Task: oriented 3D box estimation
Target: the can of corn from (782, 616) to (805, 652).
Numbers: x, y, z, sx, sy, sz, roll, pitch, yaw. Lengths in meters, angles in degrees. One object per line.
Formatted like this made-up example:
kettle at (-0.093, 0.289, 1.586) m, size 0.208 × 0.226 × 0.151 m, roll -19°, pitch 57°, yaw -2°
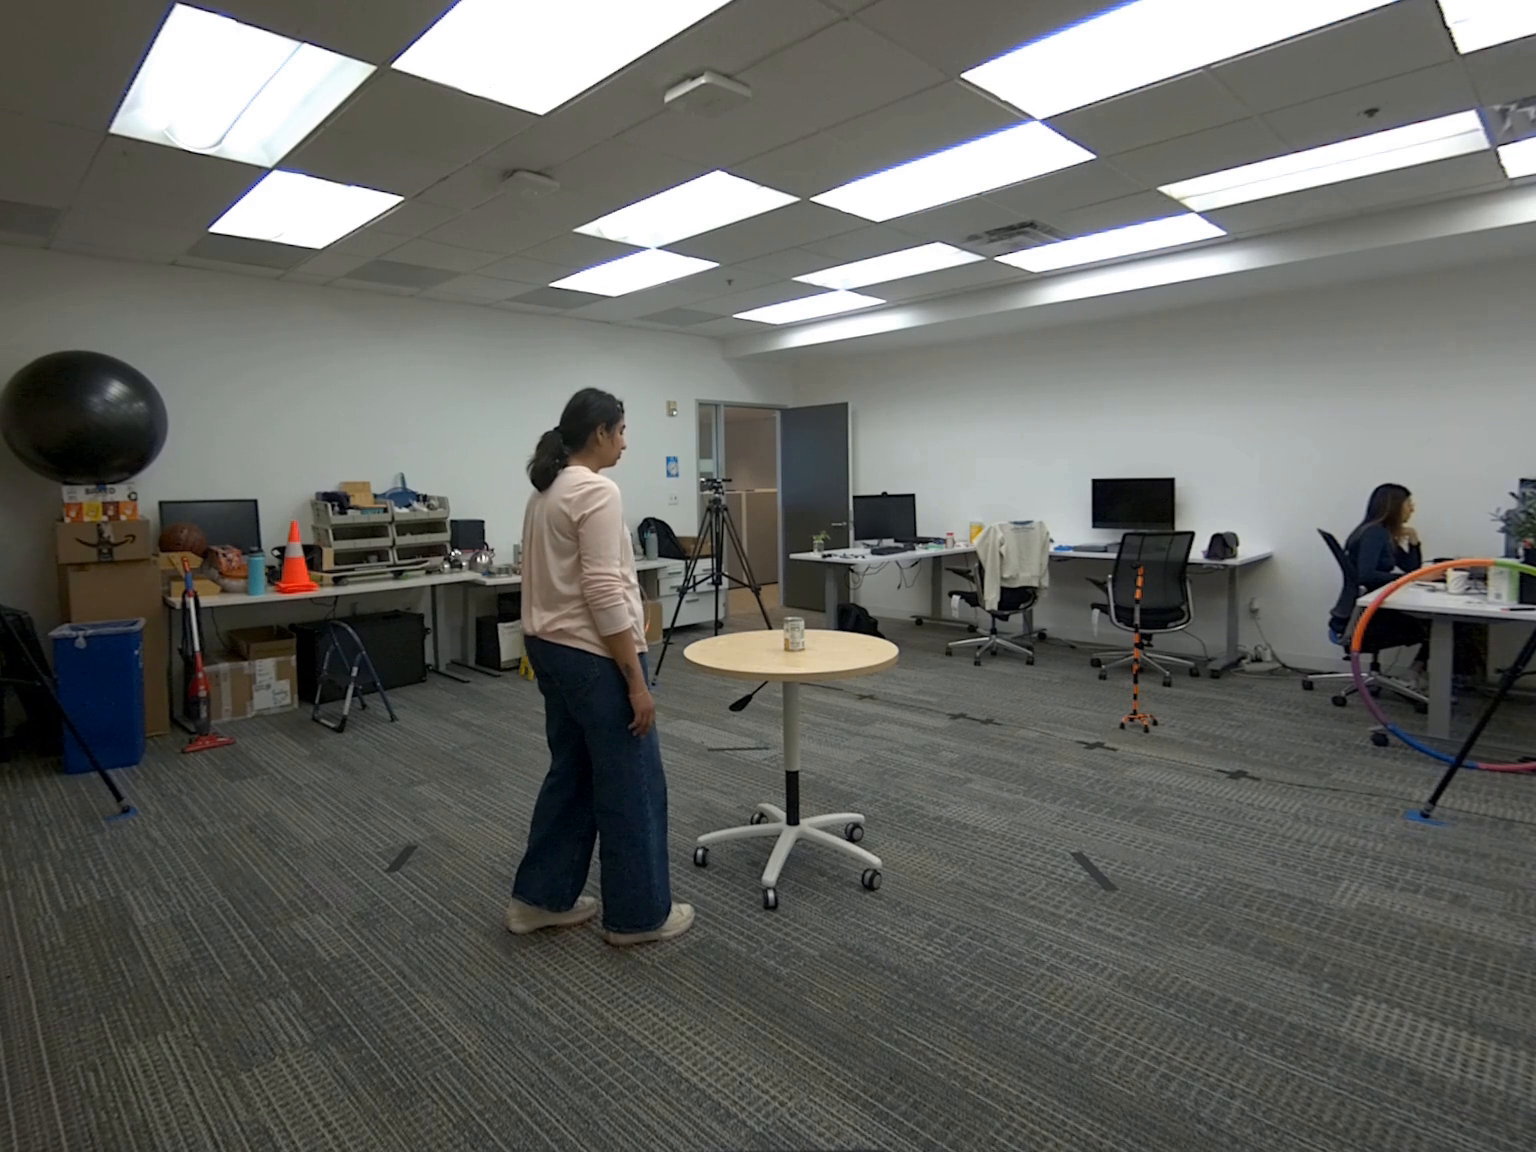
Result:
can of corn at (0.095, 0.209, 3.049) m, size 0.074 × 0.111 × 0.074 m, roll -1°, pitch 3°, yaw -2°
